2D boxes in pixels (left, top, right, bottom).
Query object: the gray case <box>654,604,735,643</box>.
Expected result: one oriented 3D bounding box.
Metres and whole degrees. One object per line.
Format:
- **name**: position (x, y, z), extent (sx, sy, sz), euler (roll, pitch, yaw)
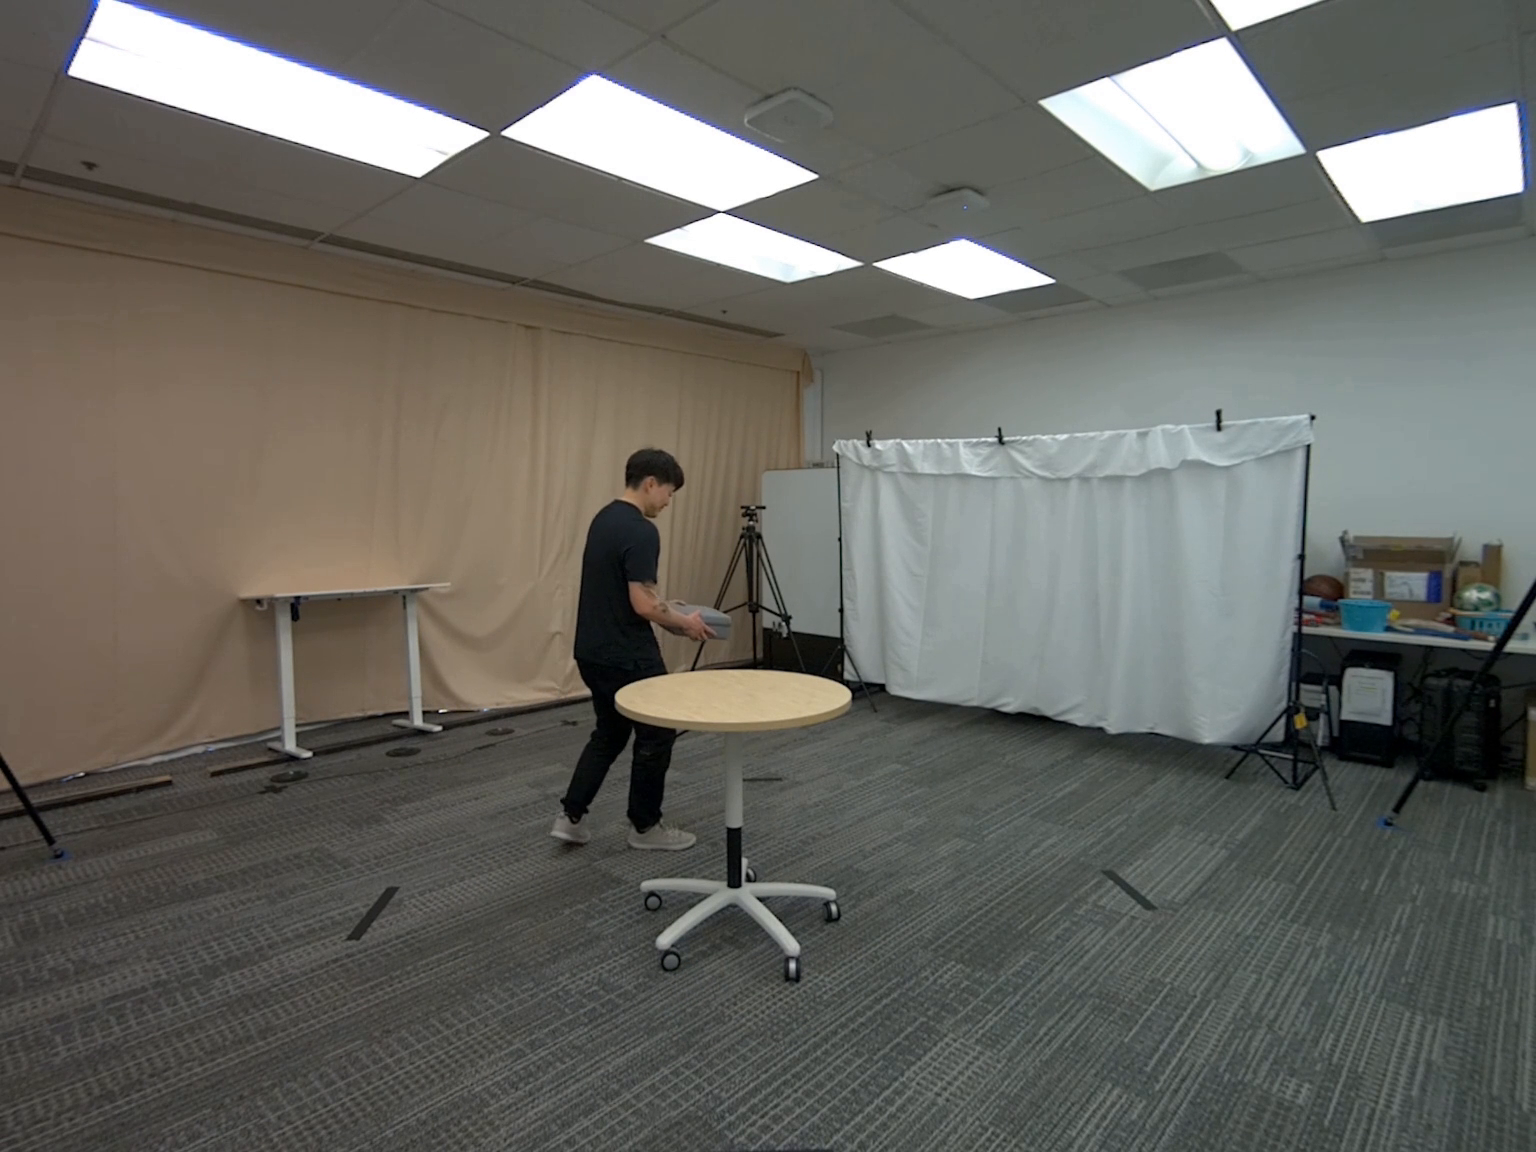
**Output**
- **gray case**: position (-0.312, 0.190, 3.514), extent (0.255, 0.104, 0.263), euler (5, 4, -21)
